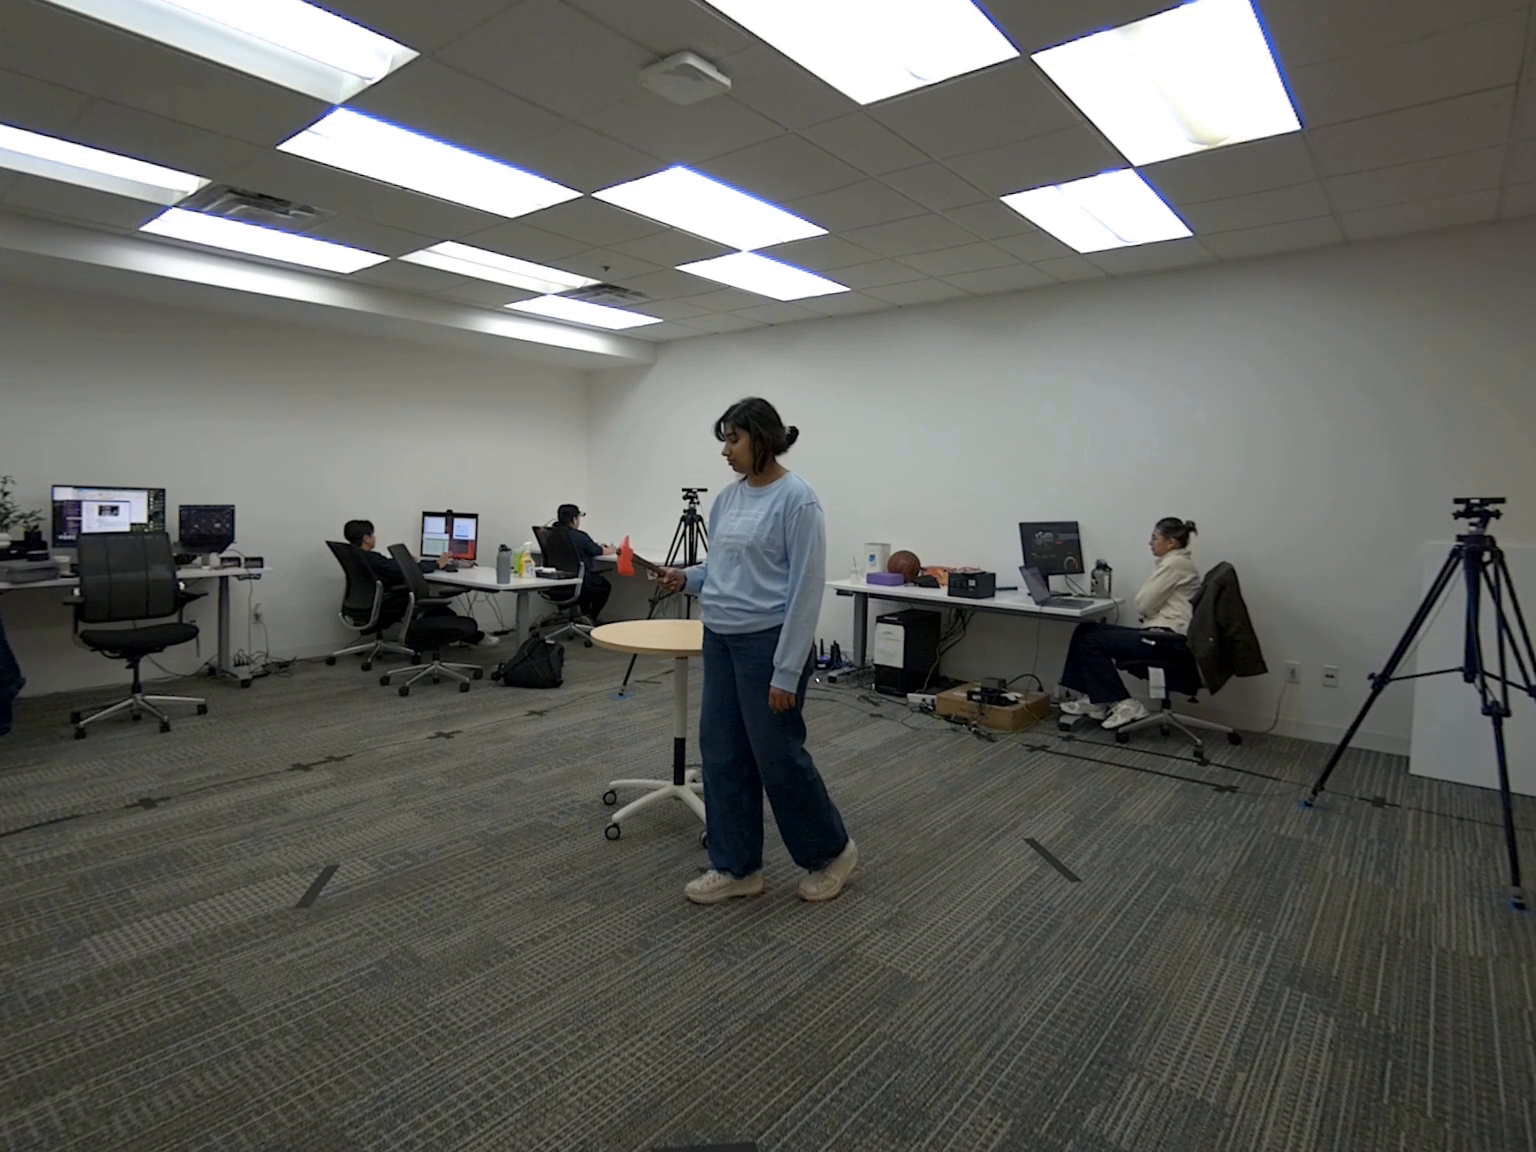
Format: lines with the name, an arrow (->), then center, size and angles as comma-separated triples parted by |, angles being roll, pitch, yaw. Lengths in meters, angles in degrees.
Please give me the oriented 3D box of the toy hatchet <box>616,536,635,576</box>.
toy hatchet -> -0.407, -0.008, 2.770 | 0.030, 0.133, 0.262 | -25, -59, 42
